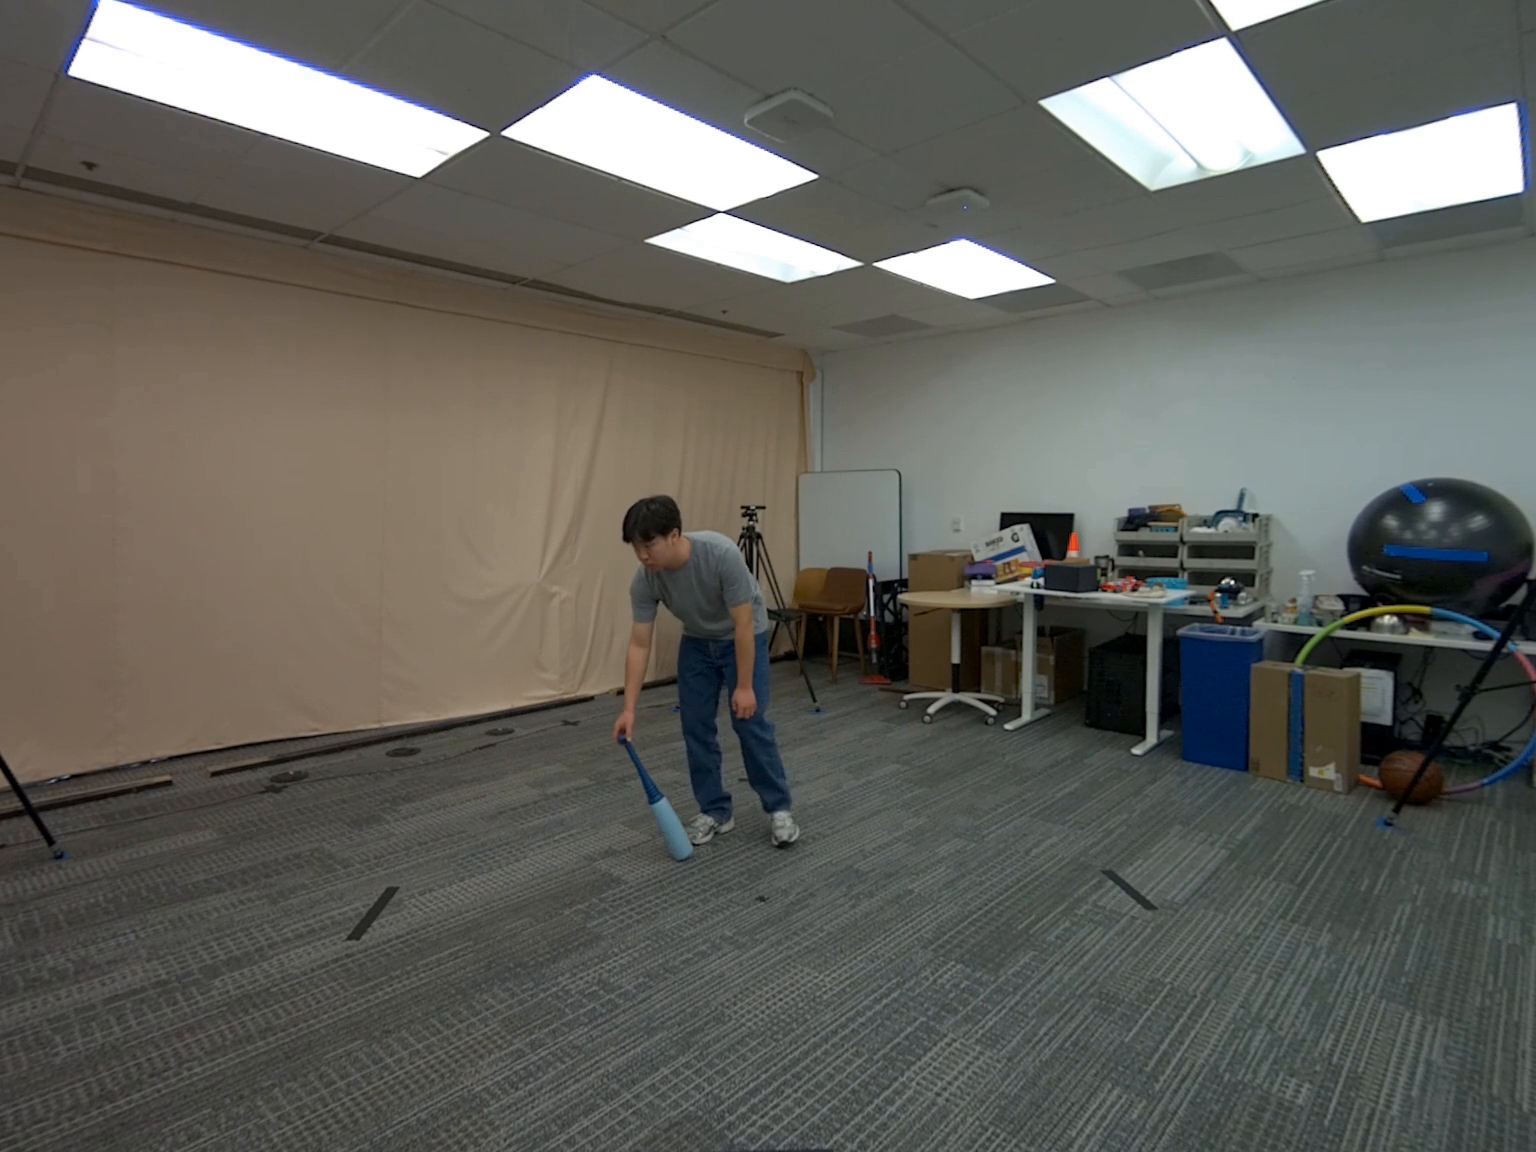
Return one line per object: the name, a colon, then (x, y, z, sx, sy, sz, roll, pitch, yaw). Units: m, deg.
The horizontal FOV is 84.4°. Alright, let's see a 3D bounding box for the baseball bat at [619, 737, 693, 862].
baseball bat: (-0.444, 0.866, 3.313, 0.089, 0.541, 0.089, -26, 2, 0)
